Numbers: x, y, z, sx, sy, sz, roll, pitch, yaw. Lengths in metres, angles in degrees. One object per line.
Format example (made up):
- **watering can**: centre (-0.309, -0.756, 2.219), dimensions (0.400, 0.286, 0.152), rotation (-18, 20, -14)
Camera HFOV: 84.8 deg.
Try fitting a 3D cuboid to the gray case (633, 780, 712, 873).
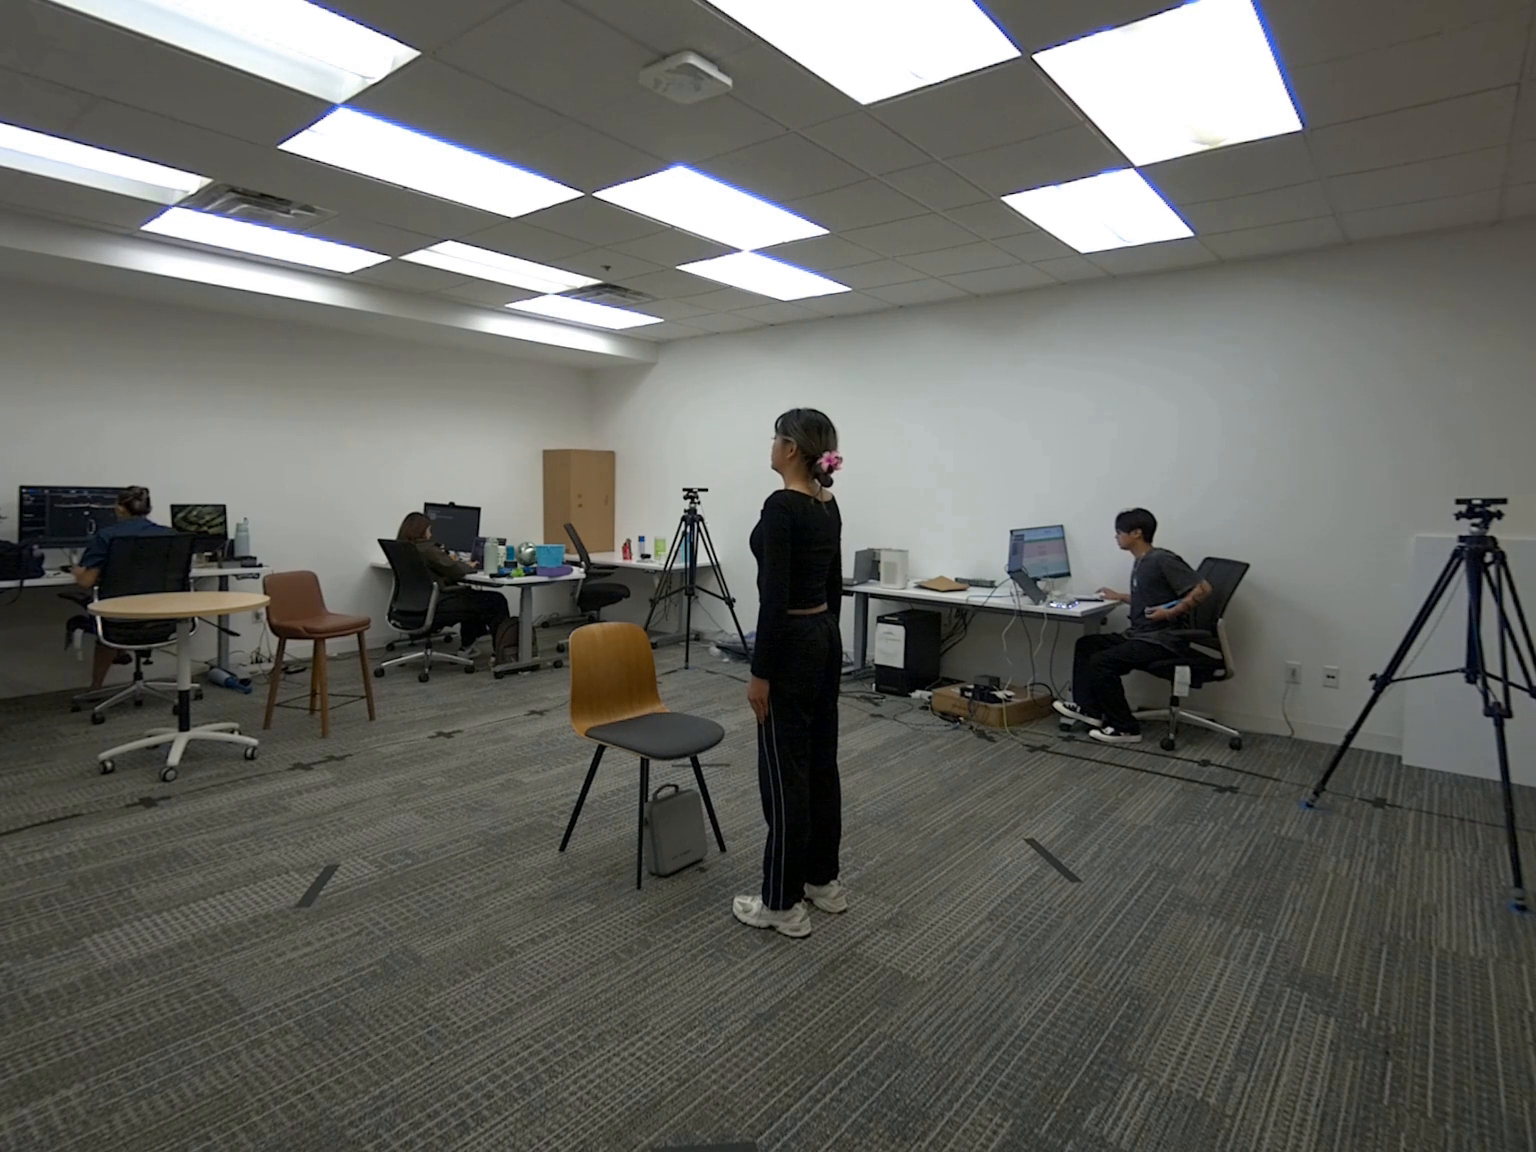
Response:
- **gray case**: centre (-0.357, 0.927, 3.141), dimensions (0.107, 0.262, 0.249), rotation (-14, -7, 39)
